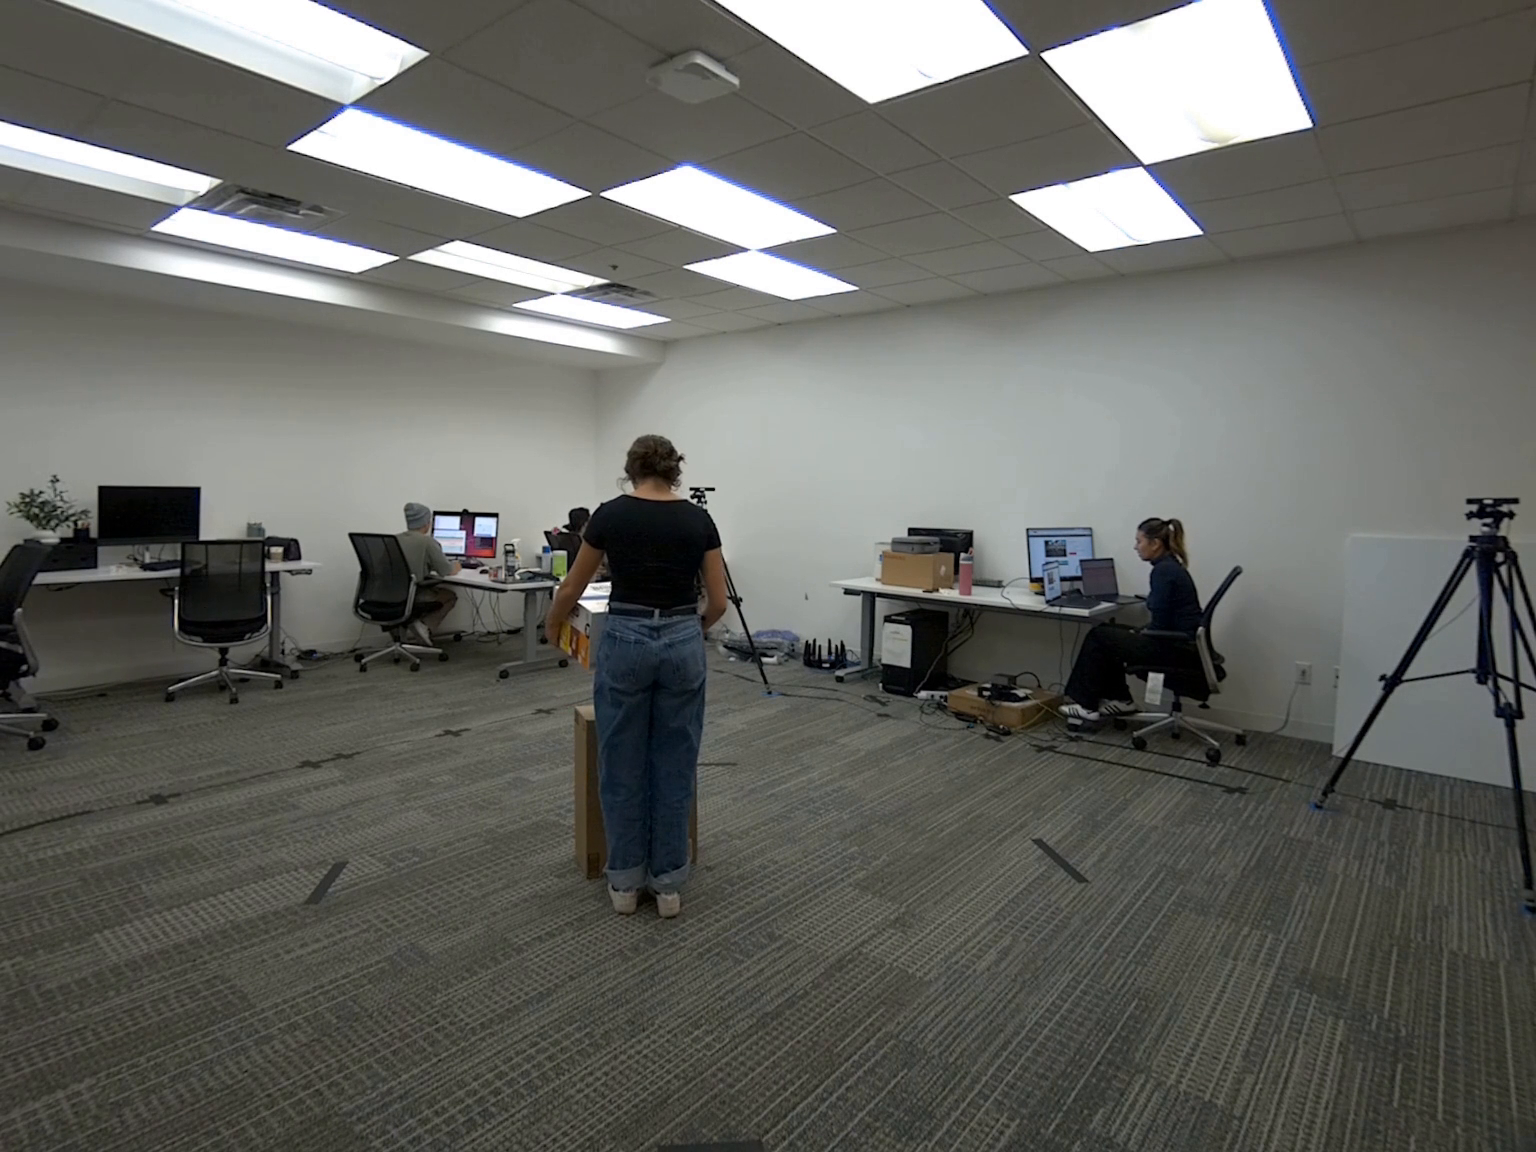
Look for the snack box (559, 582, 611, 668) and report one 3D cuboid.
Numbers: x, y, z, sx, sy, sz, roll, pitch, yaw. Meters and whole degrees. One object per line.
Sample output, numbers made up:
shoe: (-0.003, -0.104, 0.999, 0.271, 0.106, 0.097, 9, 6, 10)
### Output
snack box: (-0.535, 0.164, 3.073, 0.394, 0.203, 0.353, -5, 16, -34)
